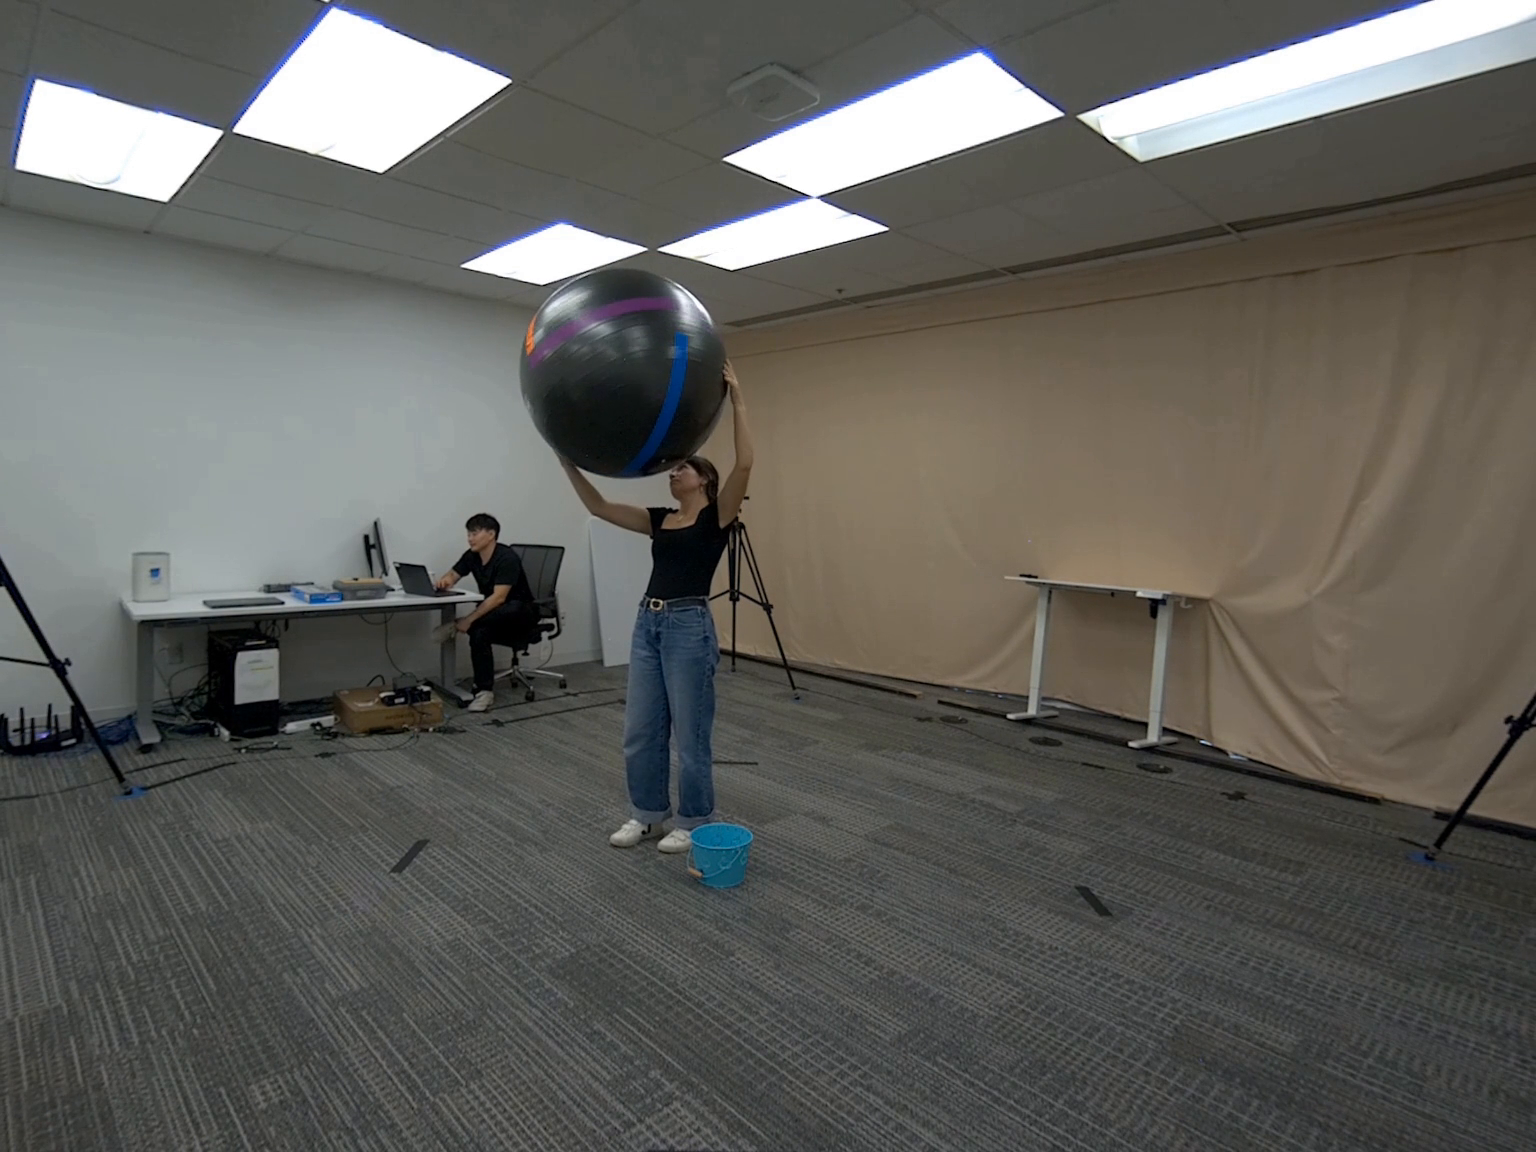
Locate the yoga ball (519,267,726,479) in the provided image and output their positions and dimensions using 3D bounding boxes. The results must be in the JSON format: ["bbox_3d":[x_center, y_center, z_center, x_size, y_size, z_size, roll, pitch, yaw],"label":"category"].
[{"bbox_3d":[-0.528,-0.731,3.092,0.757,0.756,0.761,1,4,-1],"label":"yoga ball"}]
